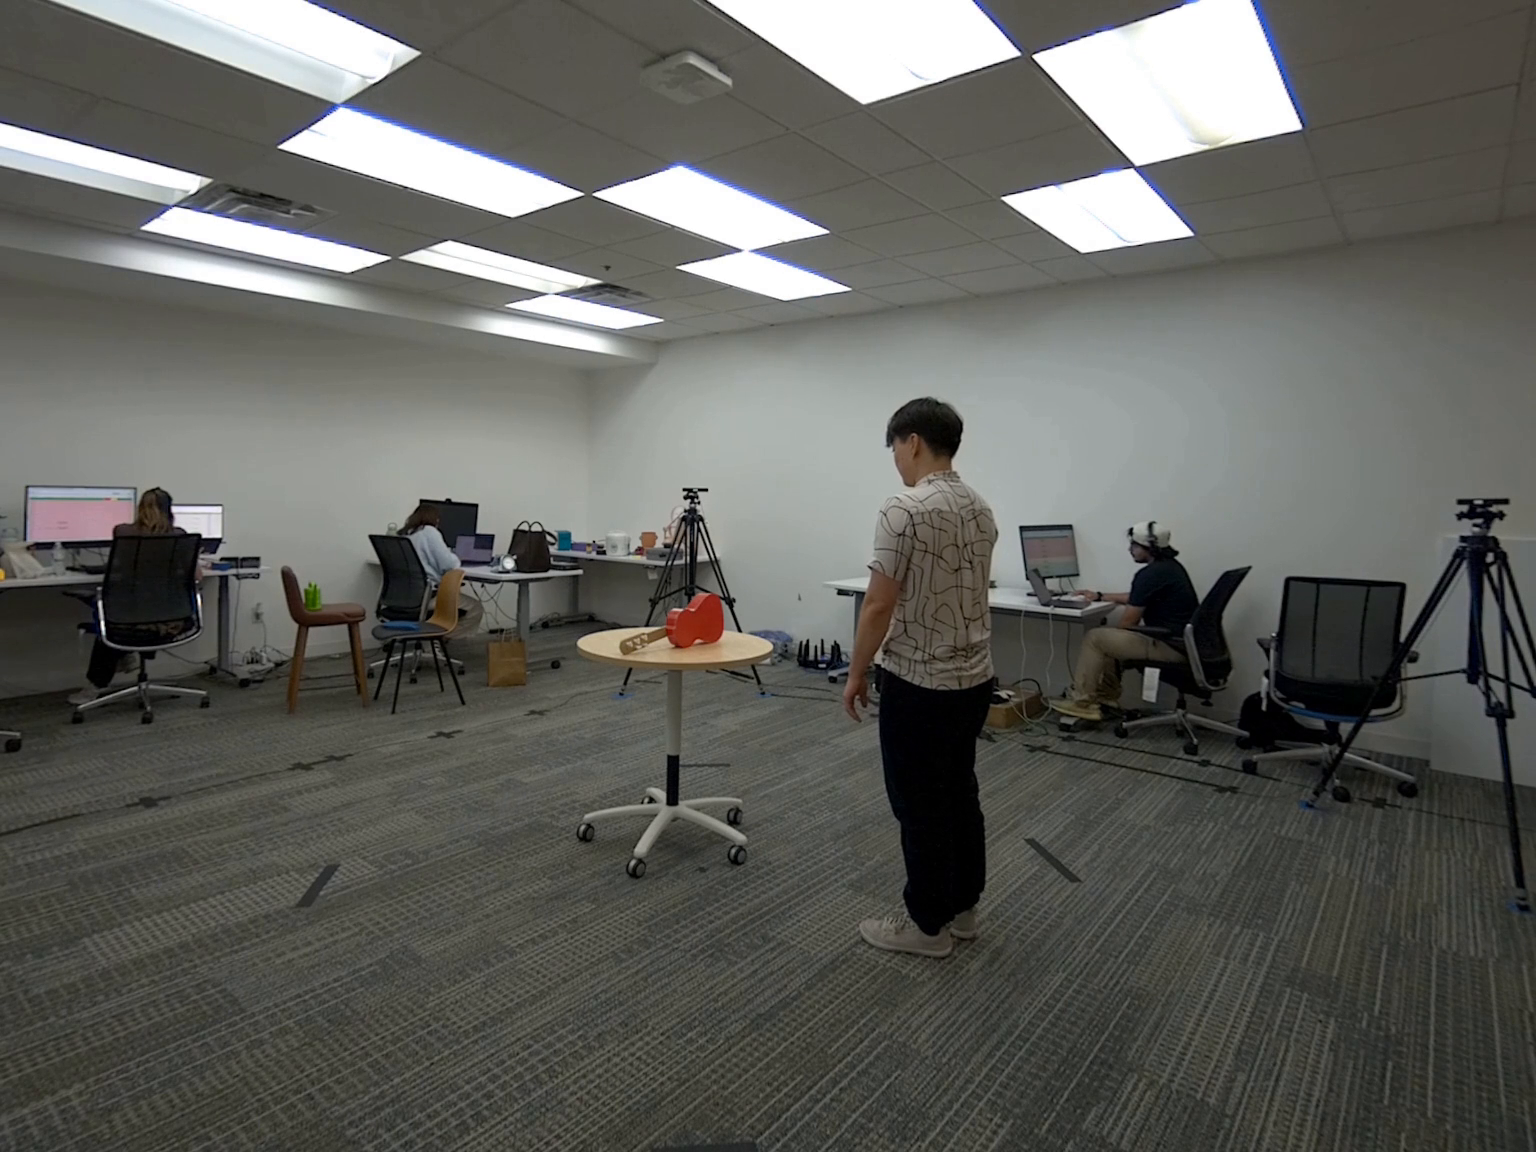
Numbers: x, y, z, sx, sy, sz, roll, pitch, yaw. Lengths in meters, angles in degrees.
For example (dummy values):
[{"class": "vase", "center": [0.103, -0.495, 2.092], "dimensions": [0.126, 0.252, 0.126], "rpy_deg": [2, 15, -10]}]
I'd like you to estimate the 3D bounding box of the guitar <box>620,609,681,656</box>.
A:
[{"class": "guitar", "center": [-0.359, 0.231, 3.237], "dimensions": [0.073, 0.189, 0.491], "rpy_deg": [3, 24, 40]}]
